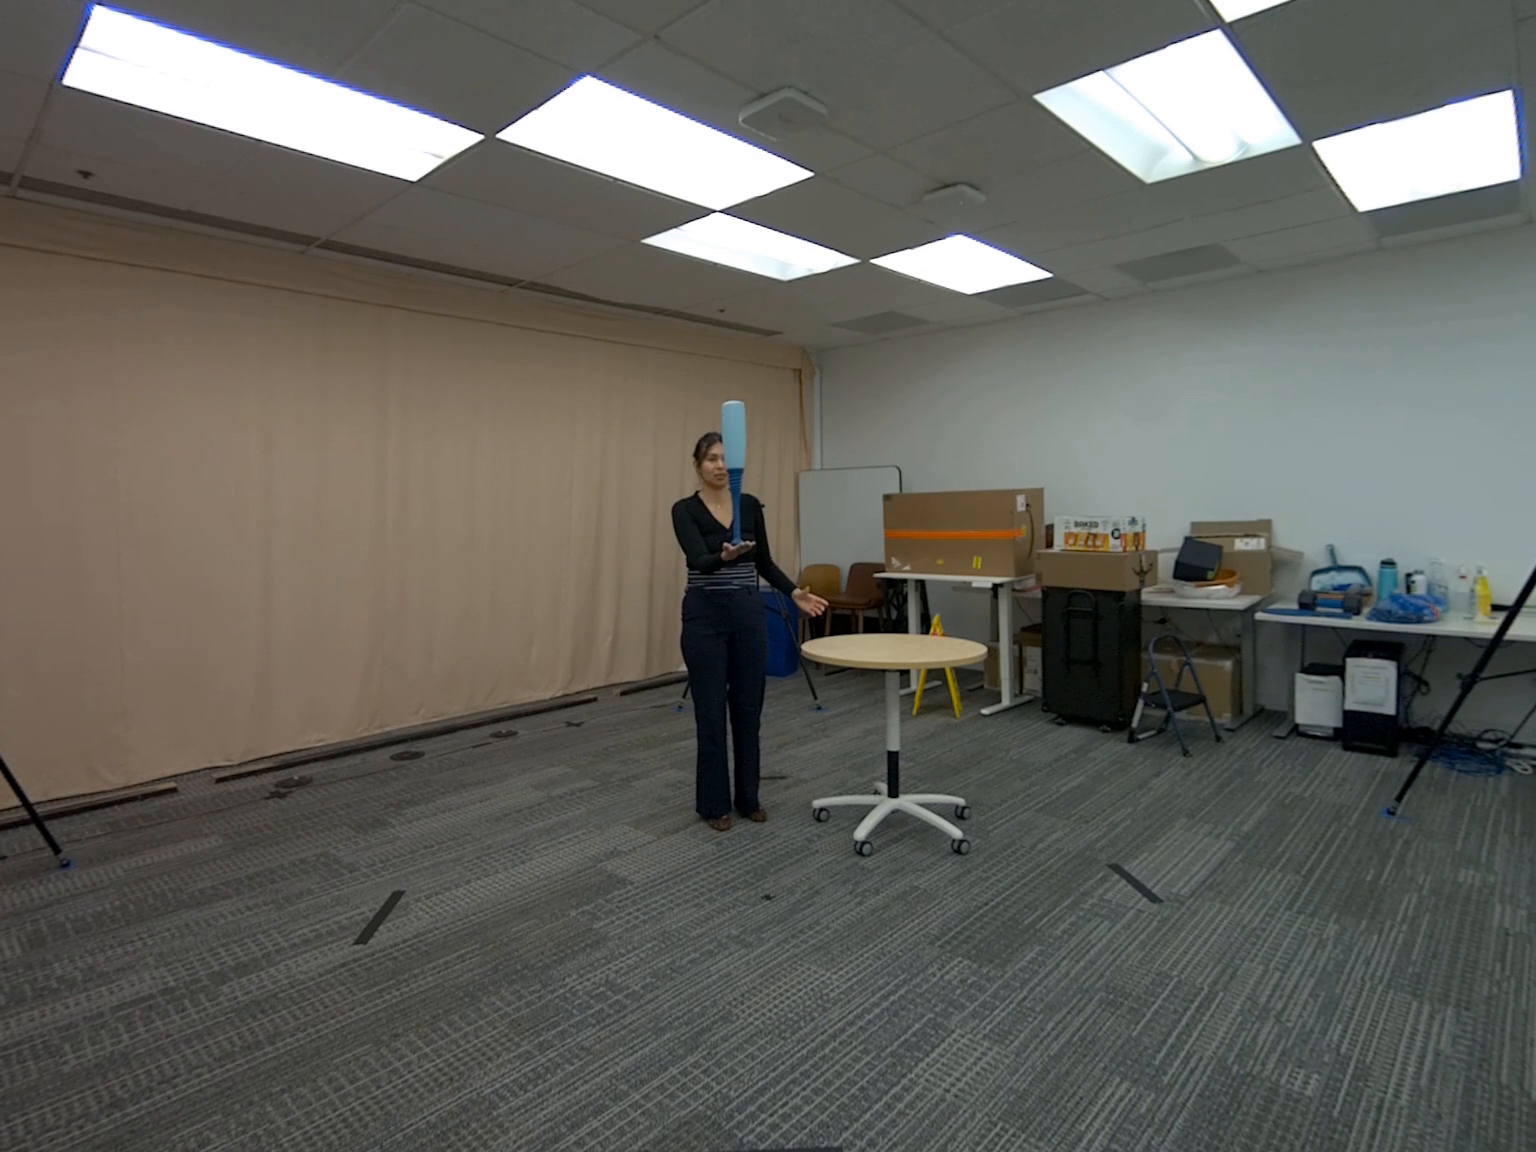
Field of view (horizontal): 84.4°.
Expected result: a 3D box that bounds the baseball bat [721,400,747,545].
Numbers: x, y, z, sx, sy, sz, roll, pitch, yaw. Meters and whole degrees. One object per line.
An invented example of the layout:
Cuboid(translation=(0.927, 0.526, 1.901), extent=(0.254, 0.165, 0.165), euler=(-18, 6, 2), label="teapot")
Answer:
Cuboid(translation=(-0.120, -0.382, 3.162), extent=(0.089, 0.543, 0.089), euler=(-1, 0, -2), label="baseball bat")
